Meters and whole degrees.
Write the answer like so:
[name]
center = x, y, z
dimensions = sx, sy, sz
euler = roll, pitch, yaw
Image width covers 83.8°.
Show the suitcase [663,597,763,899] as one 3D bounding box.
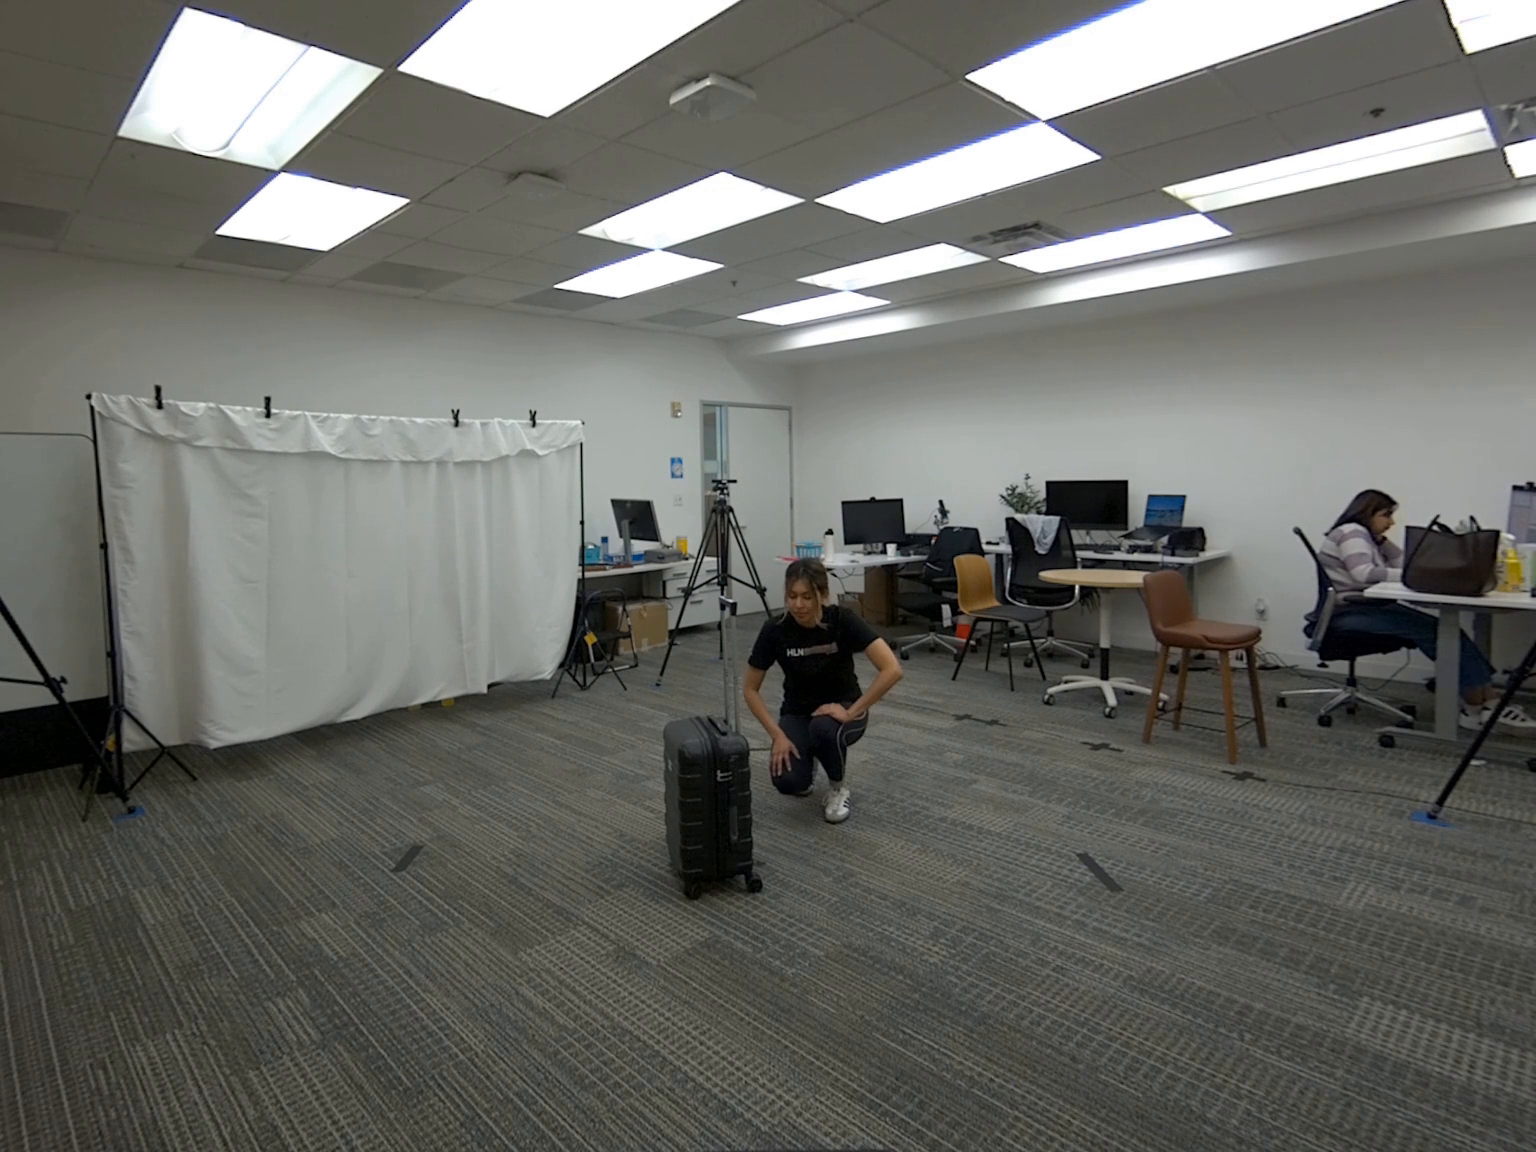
[suitcase]
center = -0.221, 0.586, 2.988
dimensions = 0.254, 0.974, 0.390
euler = -4, 4, -14
